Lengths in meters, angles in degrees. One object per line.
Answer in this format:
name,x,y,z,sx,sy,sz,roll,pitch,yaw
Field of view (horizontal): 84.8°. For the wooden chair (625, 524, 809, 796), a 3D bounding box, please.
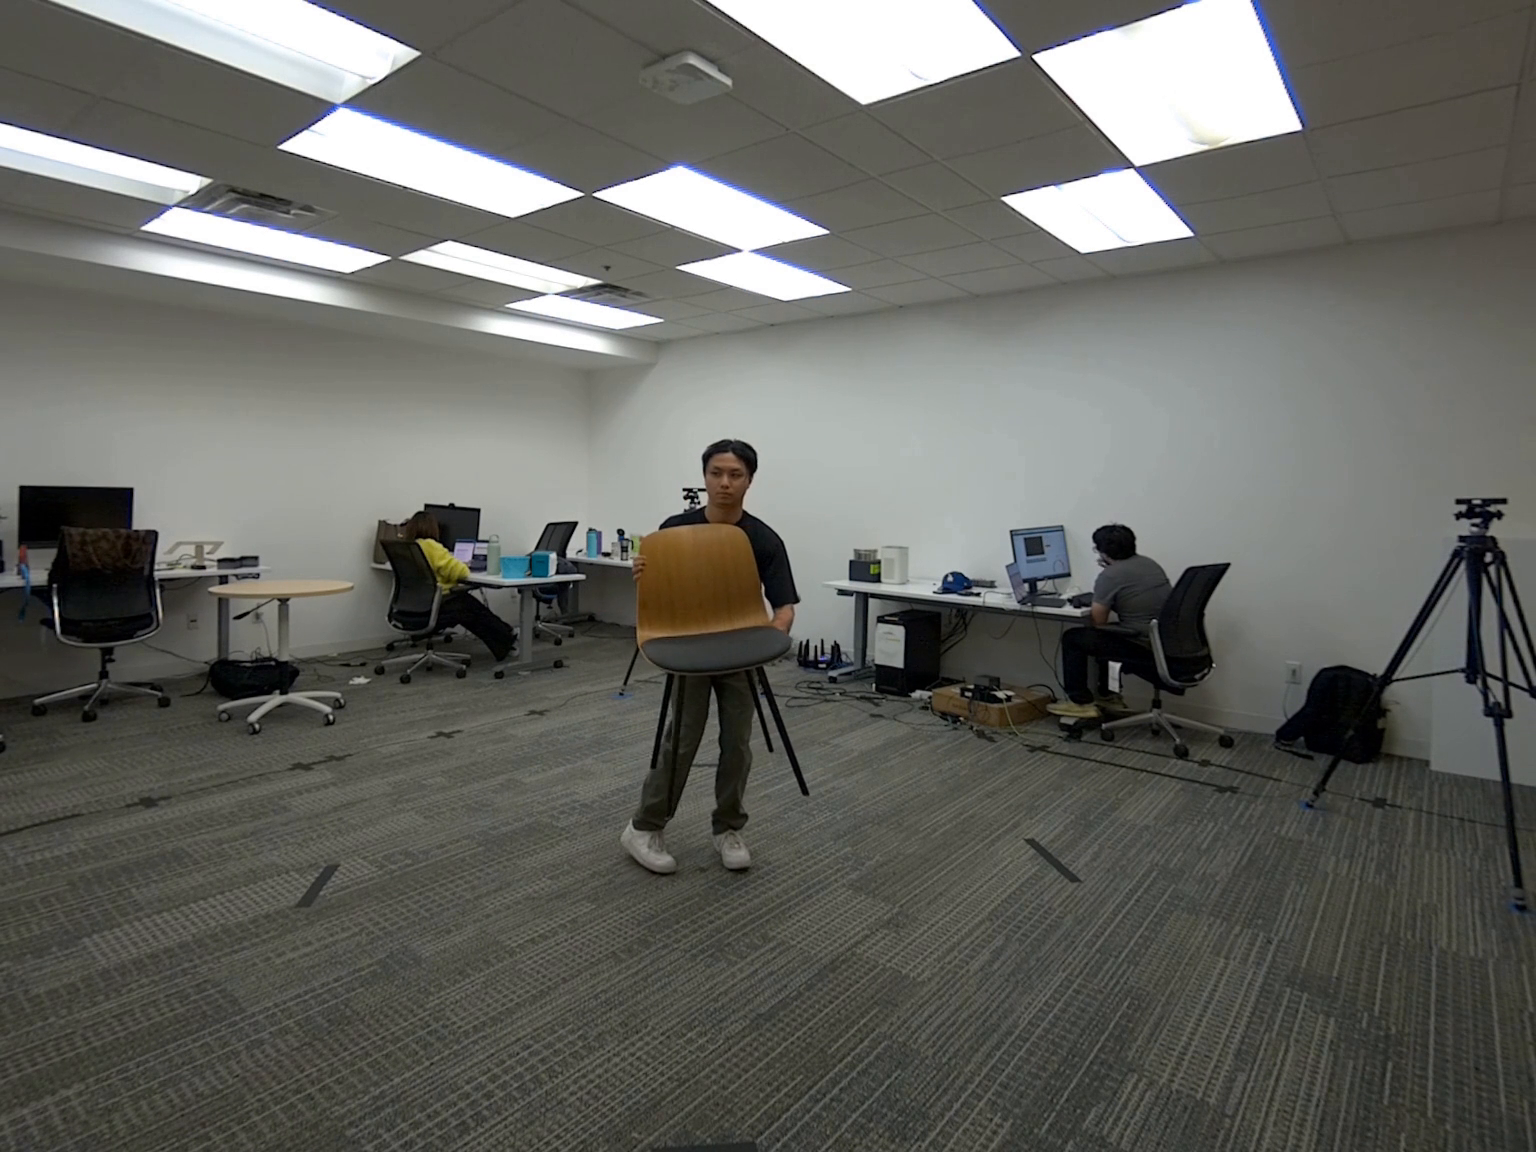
wooden chair,-0.172,0.263,2.798,0.473,0.876,0.530,-6,2,-12
